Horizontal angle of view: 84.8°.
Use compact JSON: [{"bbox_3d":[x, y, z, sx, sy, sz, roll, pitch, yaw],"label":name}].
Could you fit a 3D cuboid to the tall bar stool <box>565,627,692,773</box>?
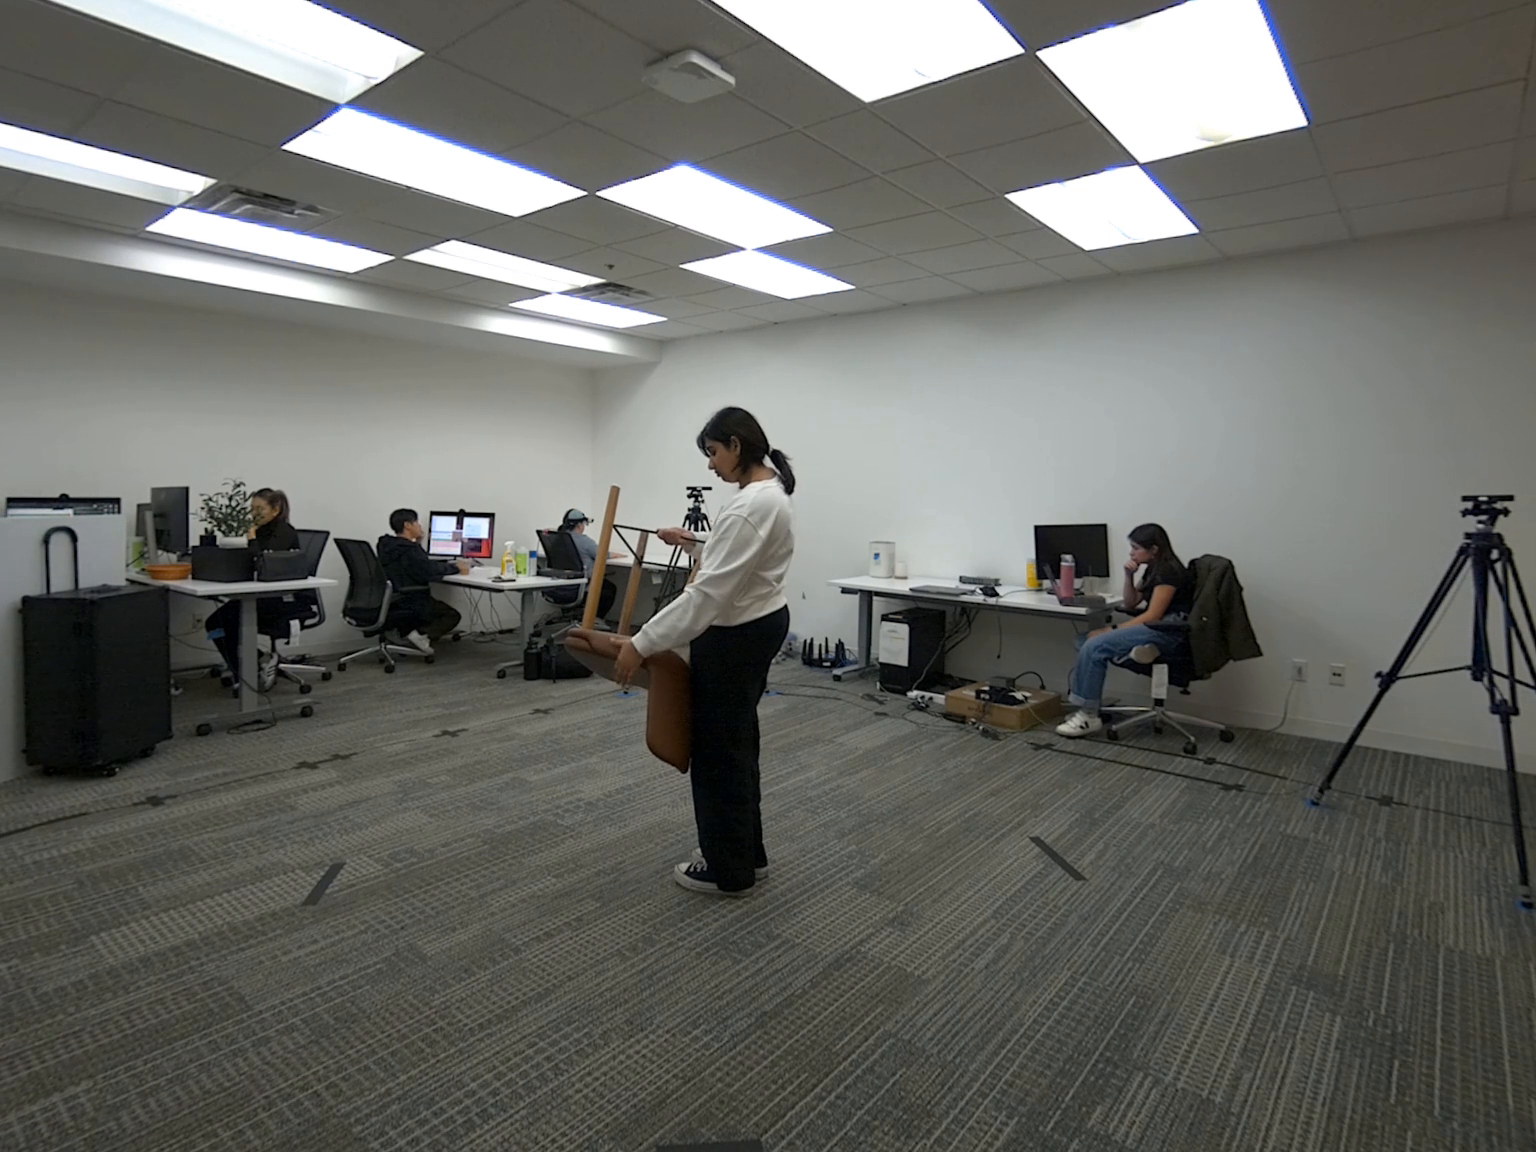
[{"bbox_3d":[-0.430,0.187,3.012,0.477,0.902,0.441,8,-22,16],"label":"tall bar stool"}]
